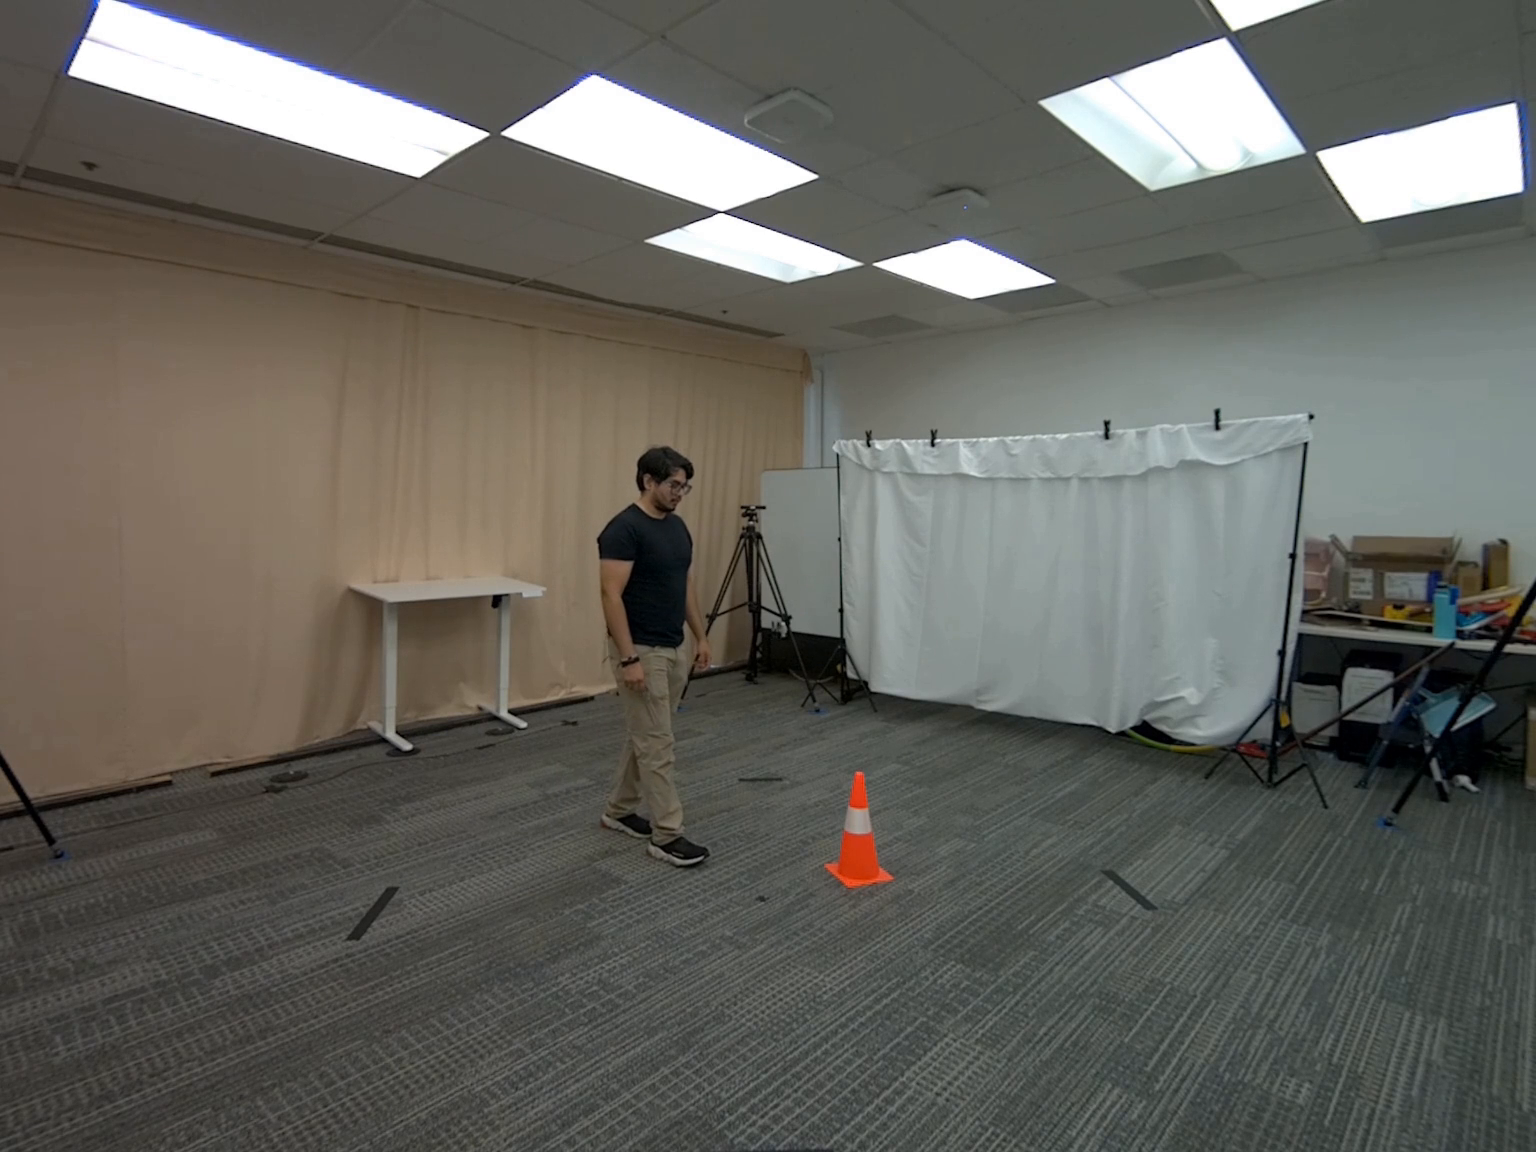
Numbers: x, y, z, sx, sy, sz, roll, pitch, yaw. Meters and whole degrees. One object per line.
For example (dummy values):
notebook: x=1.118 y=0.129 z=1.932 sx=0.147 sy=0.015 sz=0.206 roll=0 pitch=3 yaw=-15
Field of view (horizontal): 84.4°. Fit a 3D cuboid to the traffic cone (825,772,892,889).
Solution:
traffic cone: x=0.345 y=0.939 z=3.190 sx=0.198 sy=0.383 sz=0.210 roll=-2 pitch=2 yaw=-29
